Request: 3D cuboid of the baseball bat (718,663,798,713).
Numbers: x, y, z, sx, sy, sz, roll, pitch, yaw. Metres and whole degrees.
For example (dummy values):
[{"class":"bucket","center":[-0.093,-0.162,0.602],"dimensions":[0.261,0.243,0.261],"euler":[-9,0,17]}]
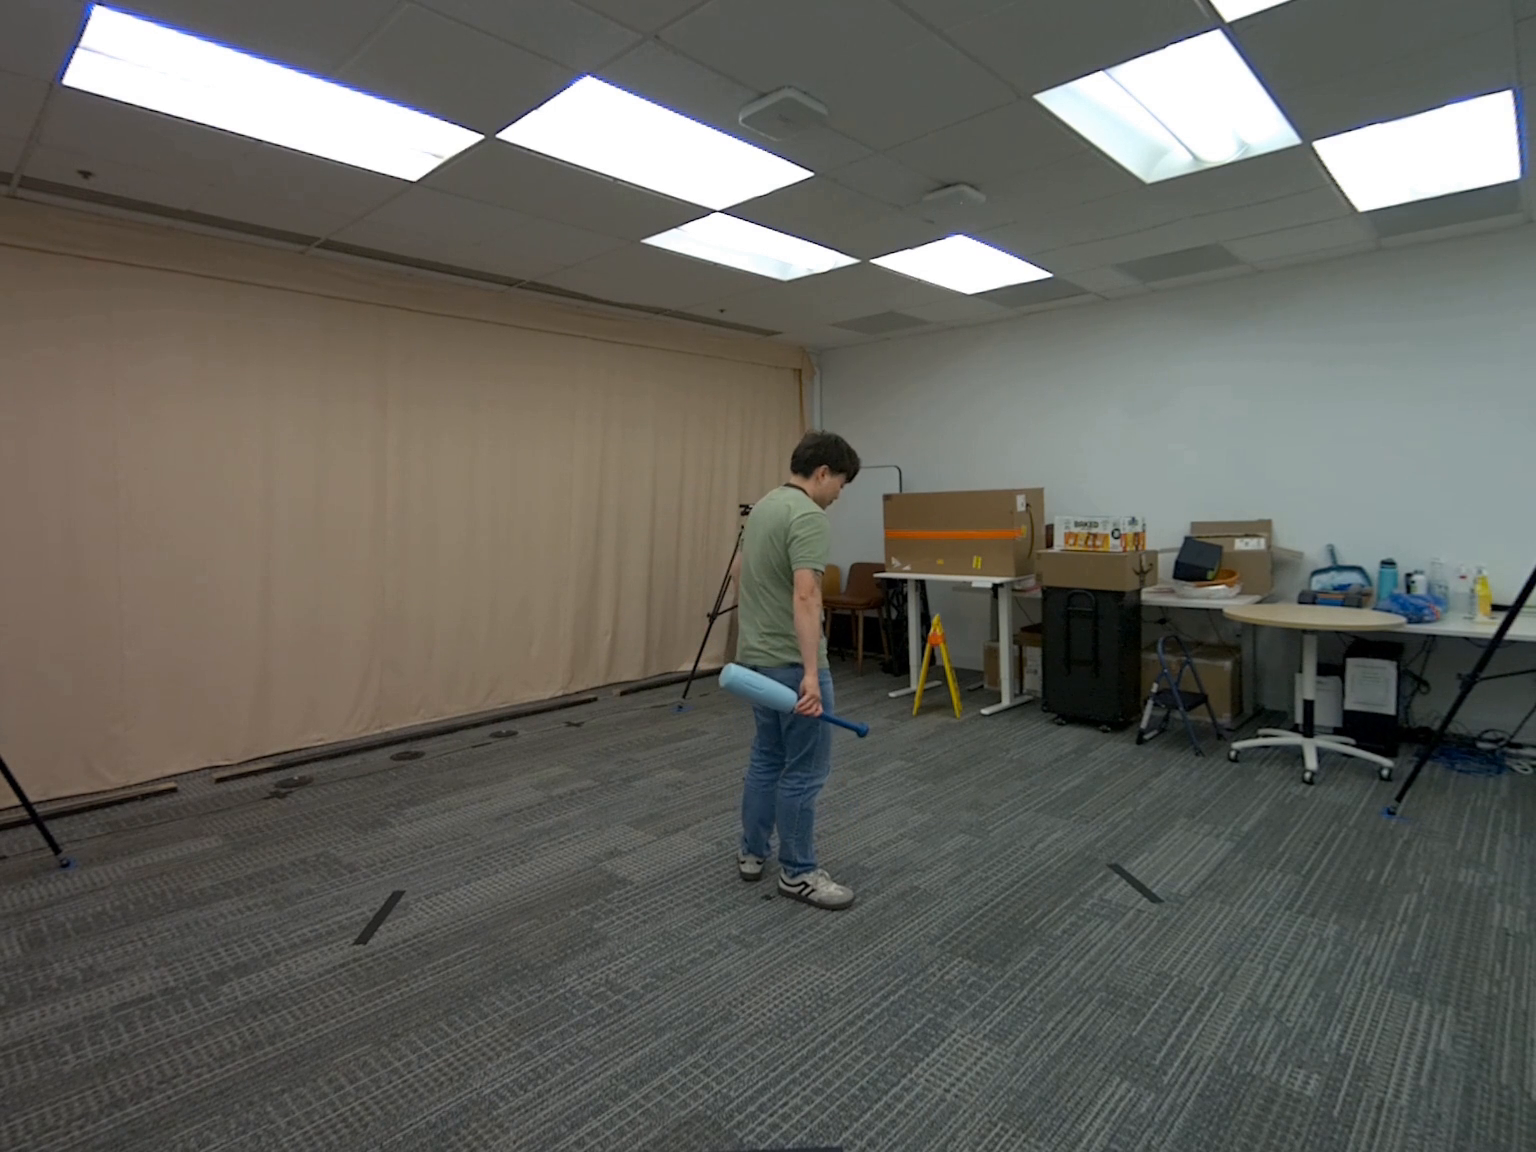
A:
[{"class":"baseball bat","center":[0.086,0.407,2.686],"dimensions":[0.531,0.089,0.091],"euler":[25,-5,-18]}]
